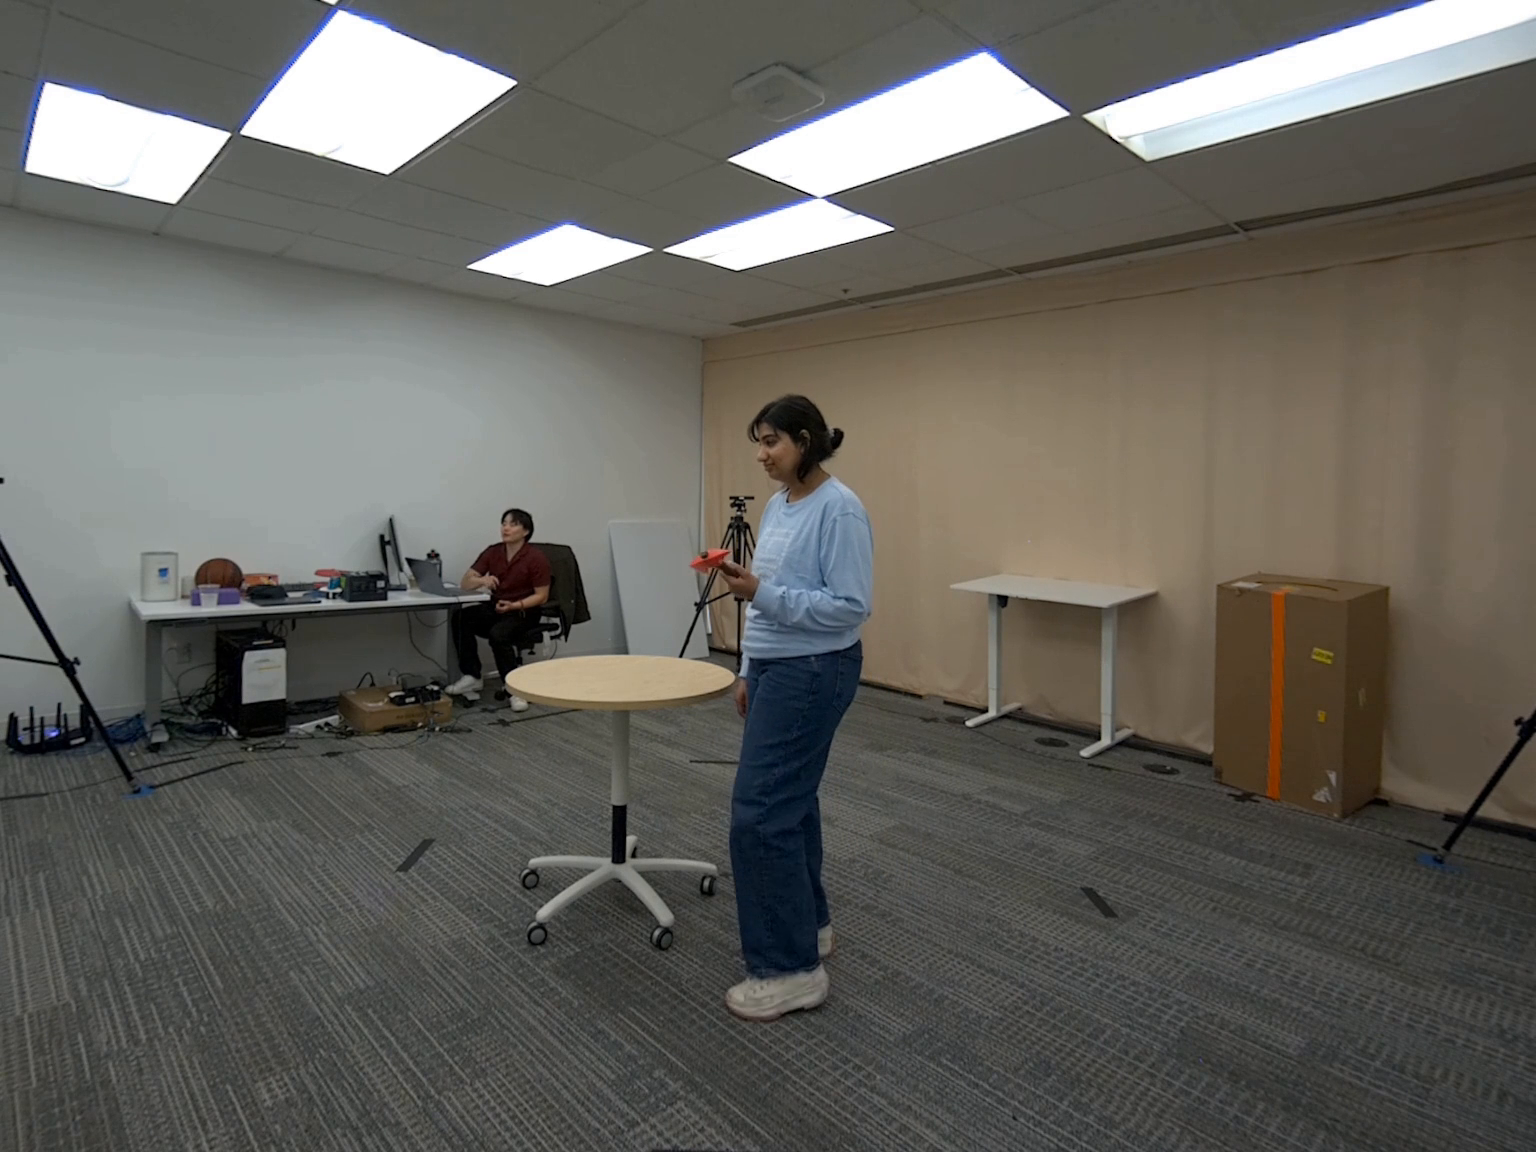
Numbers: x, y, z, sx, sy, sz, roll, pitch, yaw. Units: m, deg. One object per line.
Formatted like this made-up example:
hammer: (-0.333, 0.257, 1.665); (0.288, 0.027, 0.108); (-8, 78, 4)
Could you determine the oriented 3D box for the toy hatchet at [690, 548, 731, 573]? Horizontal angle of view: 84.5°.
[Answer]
toy hatchet: (-0.122, 0.005, 2.298); (0.132, 0.030, 0.262); (-11, -32, 17)
